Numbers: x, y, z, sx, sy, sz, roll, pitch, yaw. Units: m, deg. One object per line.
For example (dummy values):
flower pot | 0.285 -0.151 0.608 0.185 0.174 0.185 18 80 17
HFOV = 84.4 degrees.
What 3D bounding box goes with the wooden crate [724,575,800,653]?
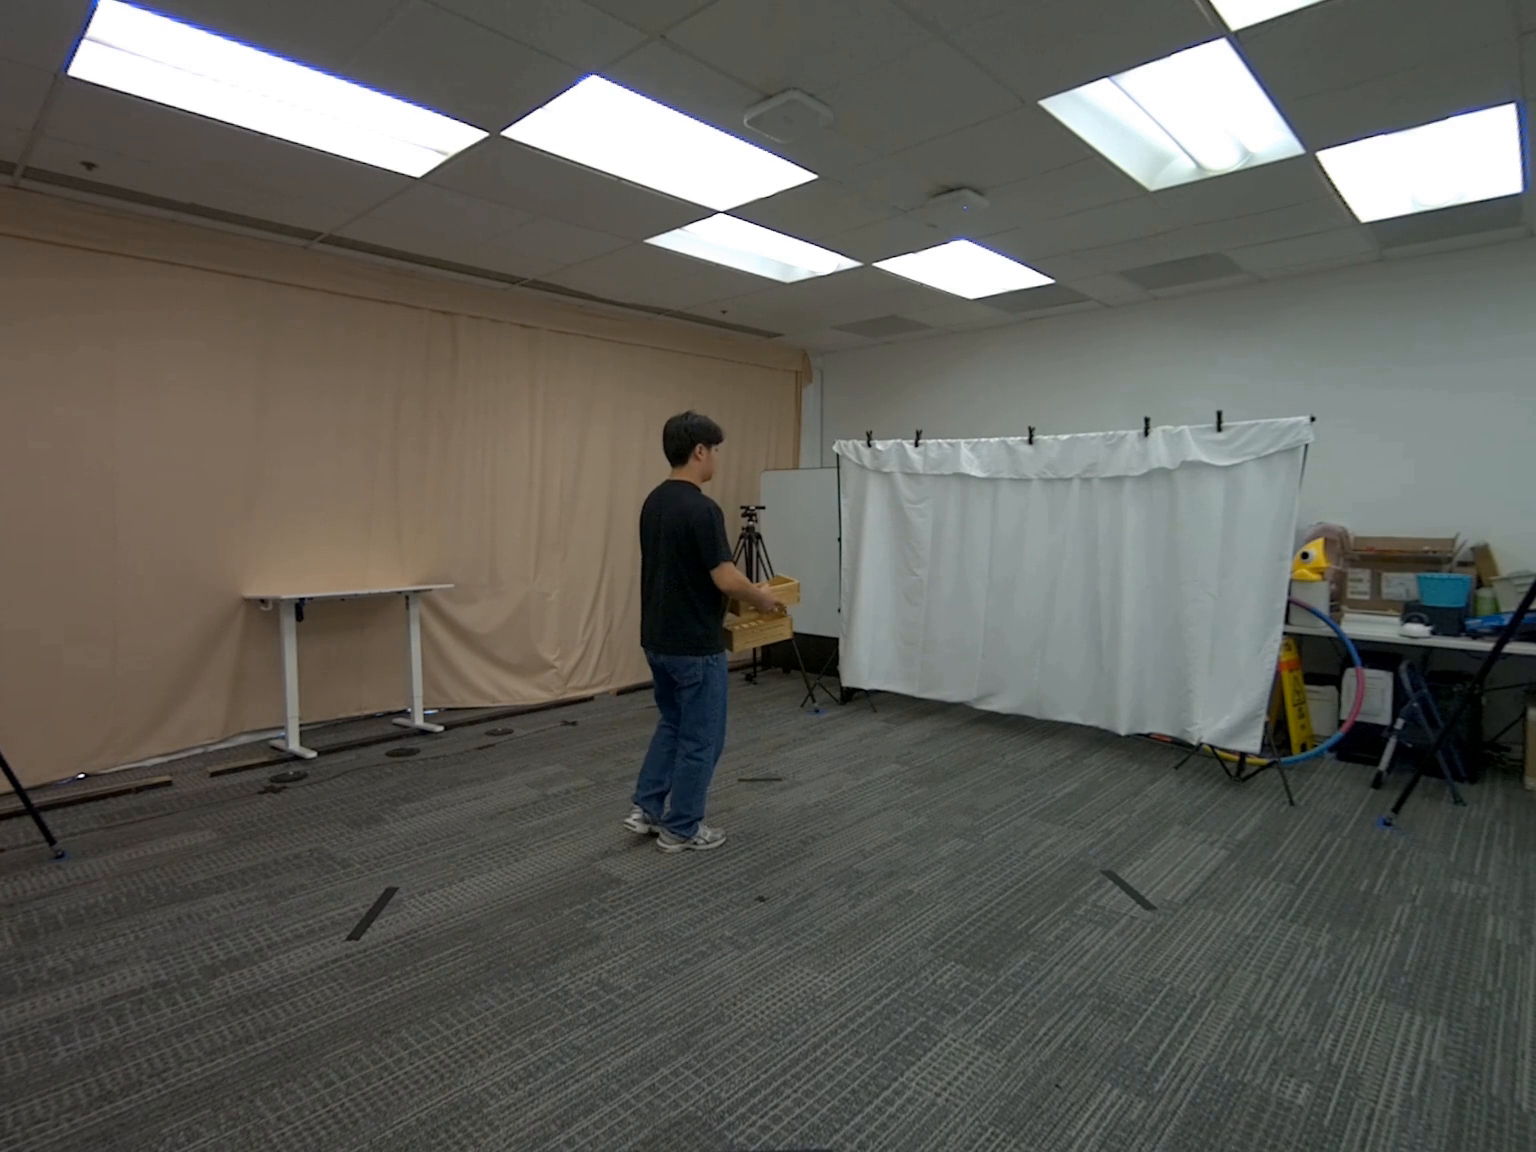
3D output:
wooden crate | -0.072 0.141 3.546 0.316 0.271 0.313 -11 19 -33
